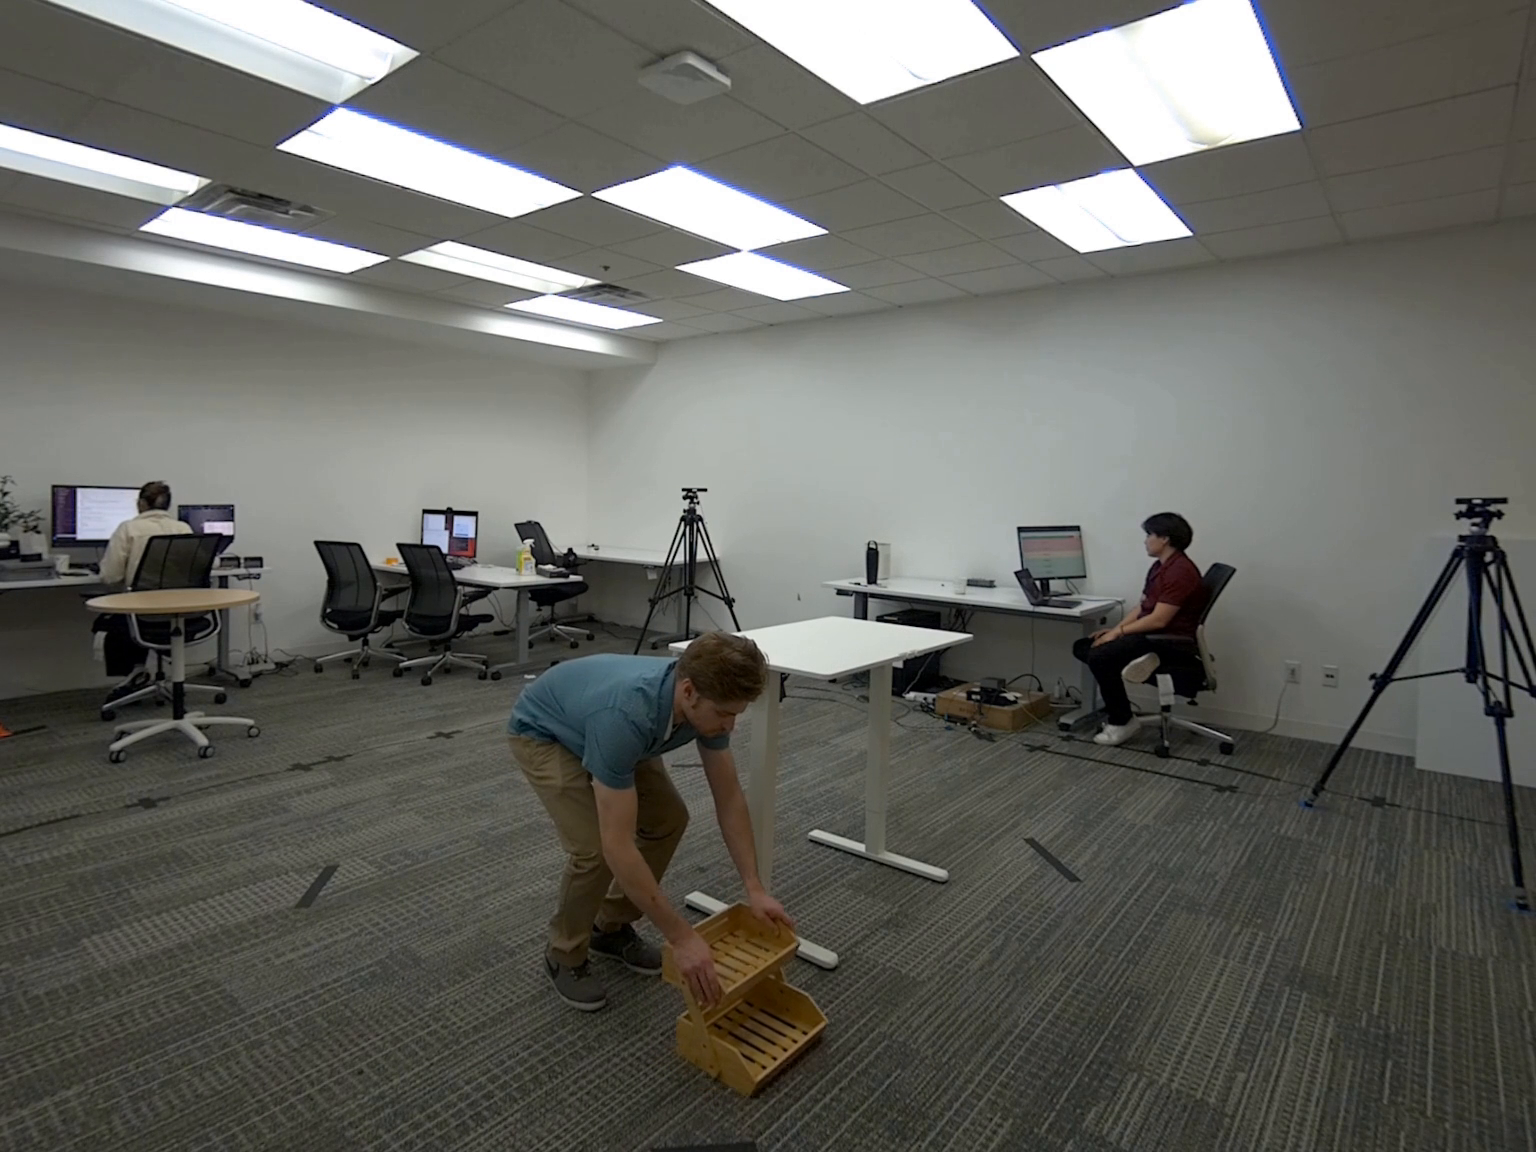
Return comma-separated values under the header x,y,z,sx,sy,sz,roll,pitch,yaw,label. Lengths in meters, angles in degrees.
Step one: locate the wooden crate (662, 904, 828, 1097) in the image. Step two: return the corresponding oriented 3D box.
x,y,z,sx,sy,sz,roll,pitch,yaw,label
-0.053,1.039,2.133,0.312,0.272,0.315,4,5,39,wooden crate
